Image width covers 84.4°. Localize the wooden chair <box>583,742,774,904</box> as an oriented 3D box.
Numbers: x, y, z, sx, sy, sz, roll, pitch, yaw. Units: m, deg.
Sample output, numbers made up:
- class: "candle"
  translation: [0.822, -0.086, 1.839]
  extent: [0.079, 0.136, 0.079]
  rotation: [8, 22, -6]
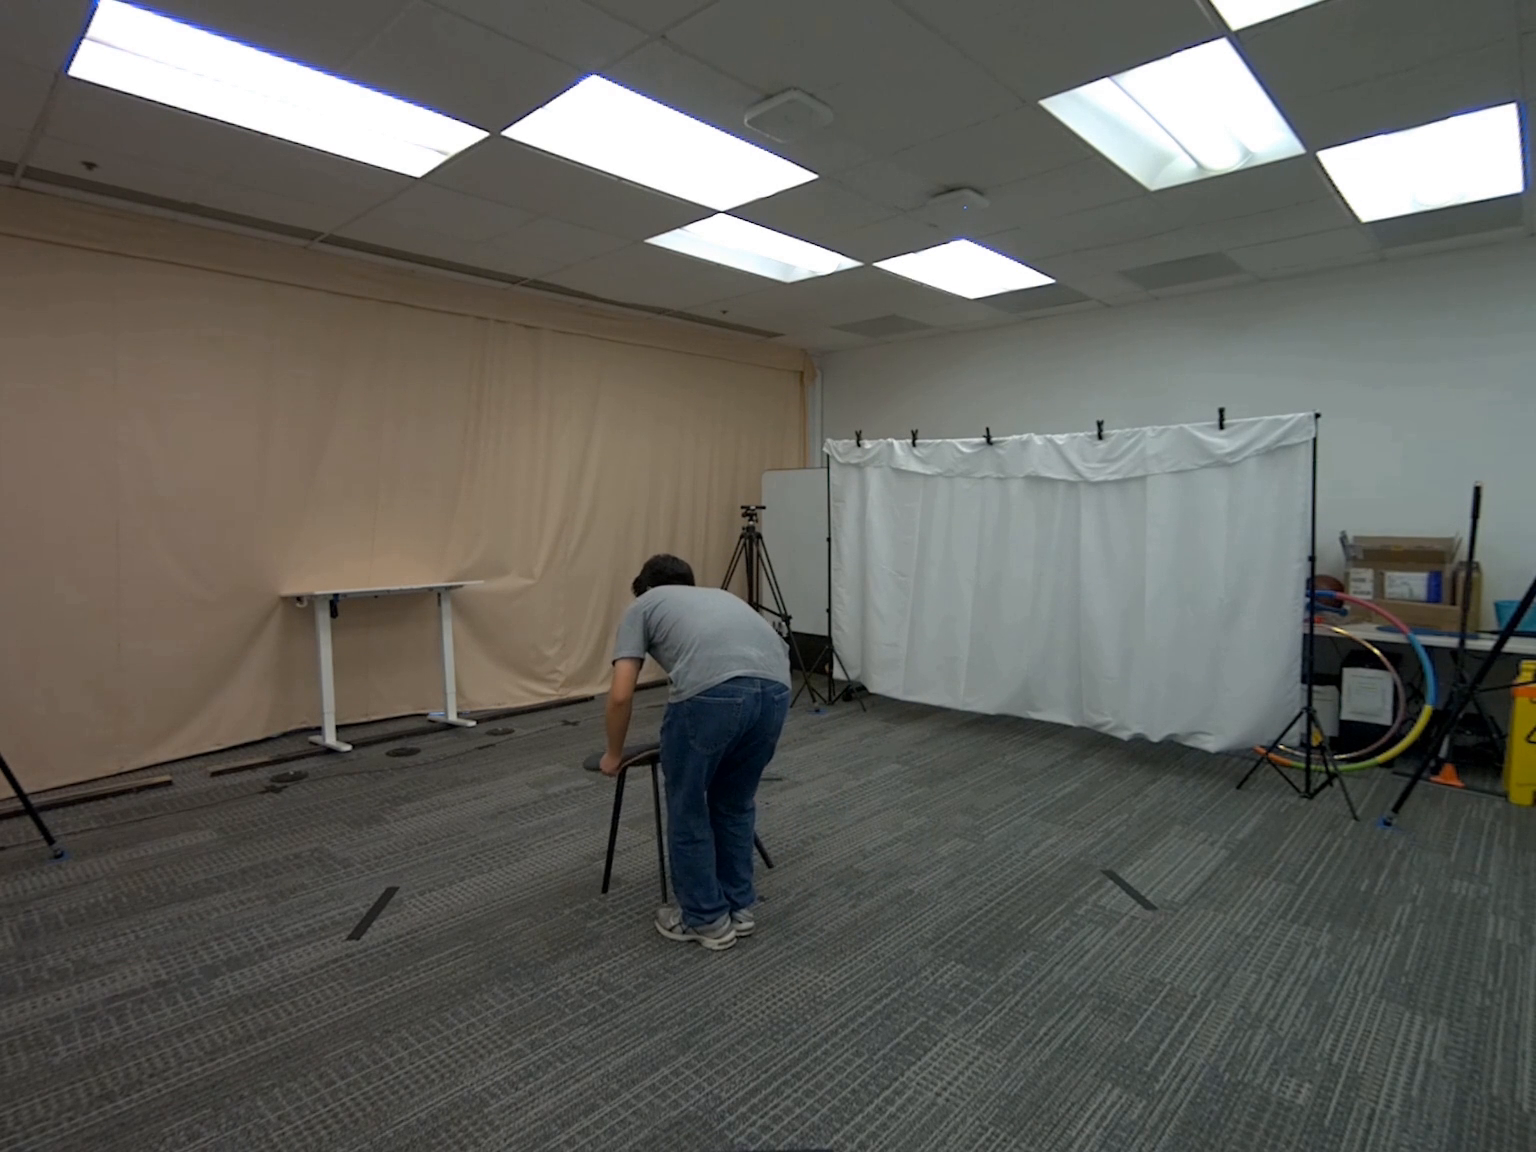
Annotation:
- class: "wooden chair"
  translation: [-0.376, 0.670, 3.051]
  extent: [0.507, 0.885, 0.488]
  rotation: [2, -15, -36]
